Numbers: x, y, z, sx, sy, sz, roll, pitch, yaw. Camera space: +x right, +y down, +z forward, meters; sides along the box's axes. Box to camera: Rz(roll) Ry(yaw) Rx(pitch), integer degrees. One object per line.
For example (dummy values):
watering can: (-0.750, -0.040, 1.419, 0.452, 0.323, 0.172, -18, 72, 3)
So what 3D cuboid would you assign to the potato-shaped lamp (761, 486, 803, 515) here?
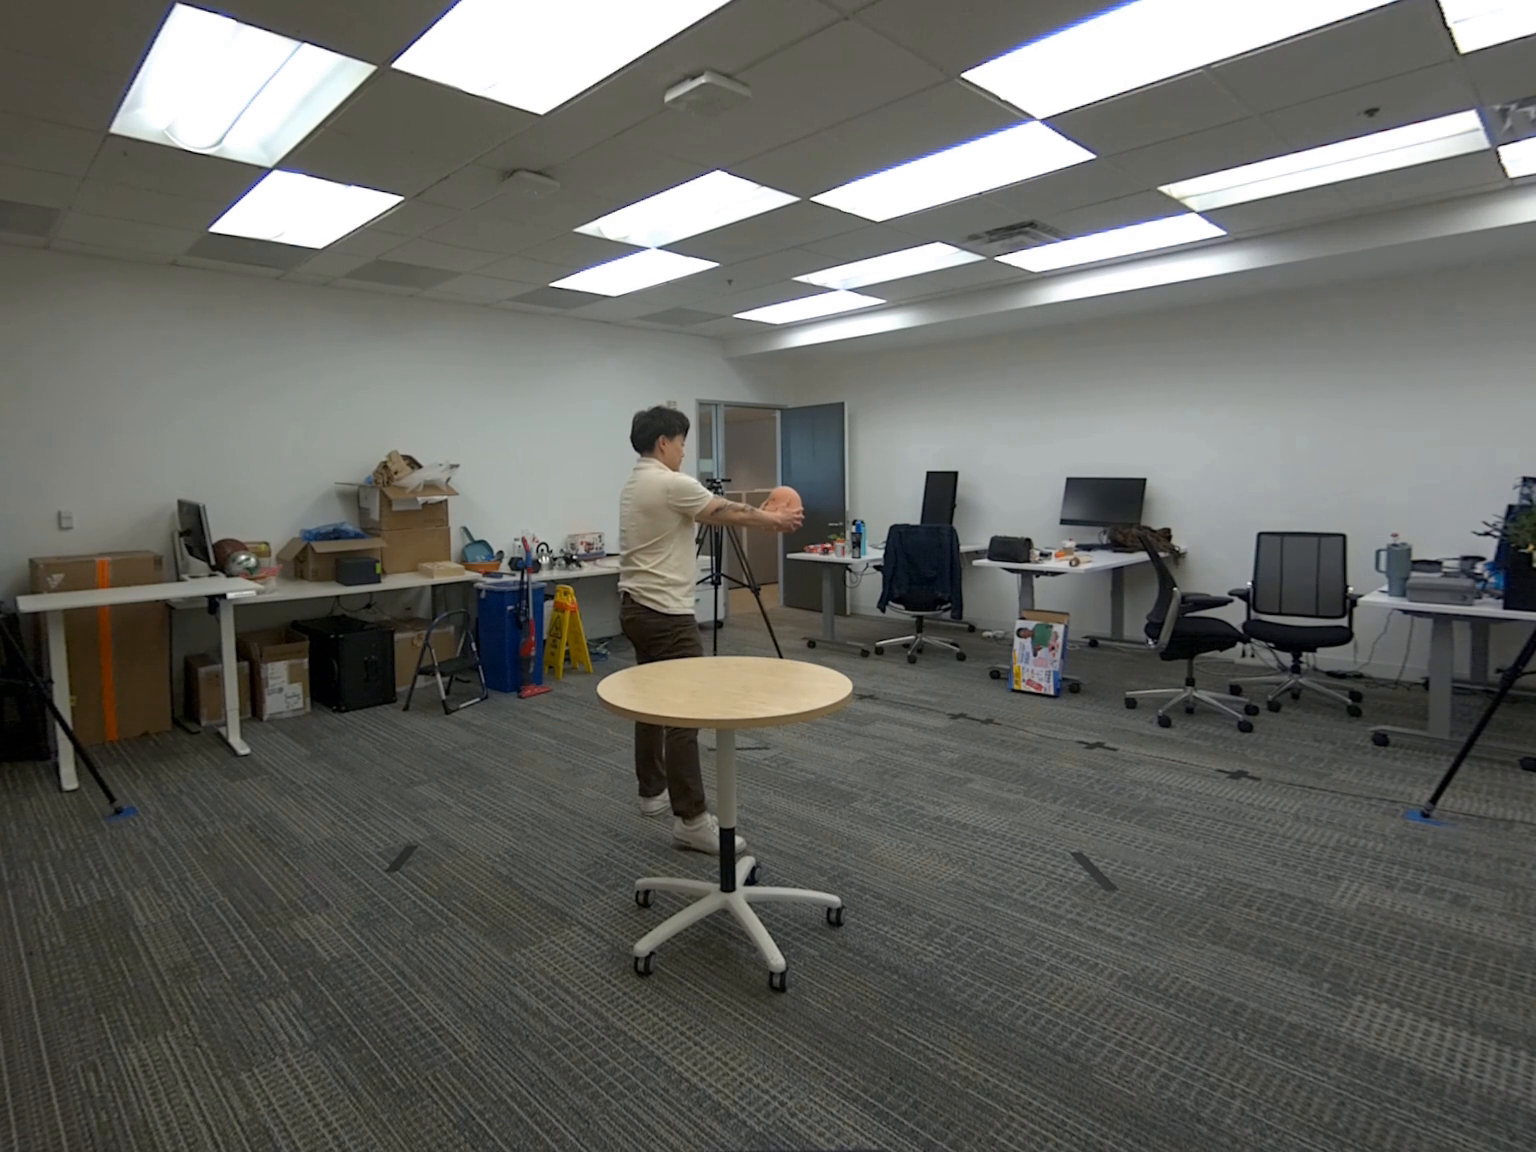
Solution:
potato-shaped lamp: (0.058, -0.290, 3.725, 0.167, 0.197, 0.169, 0, 5, -27)
